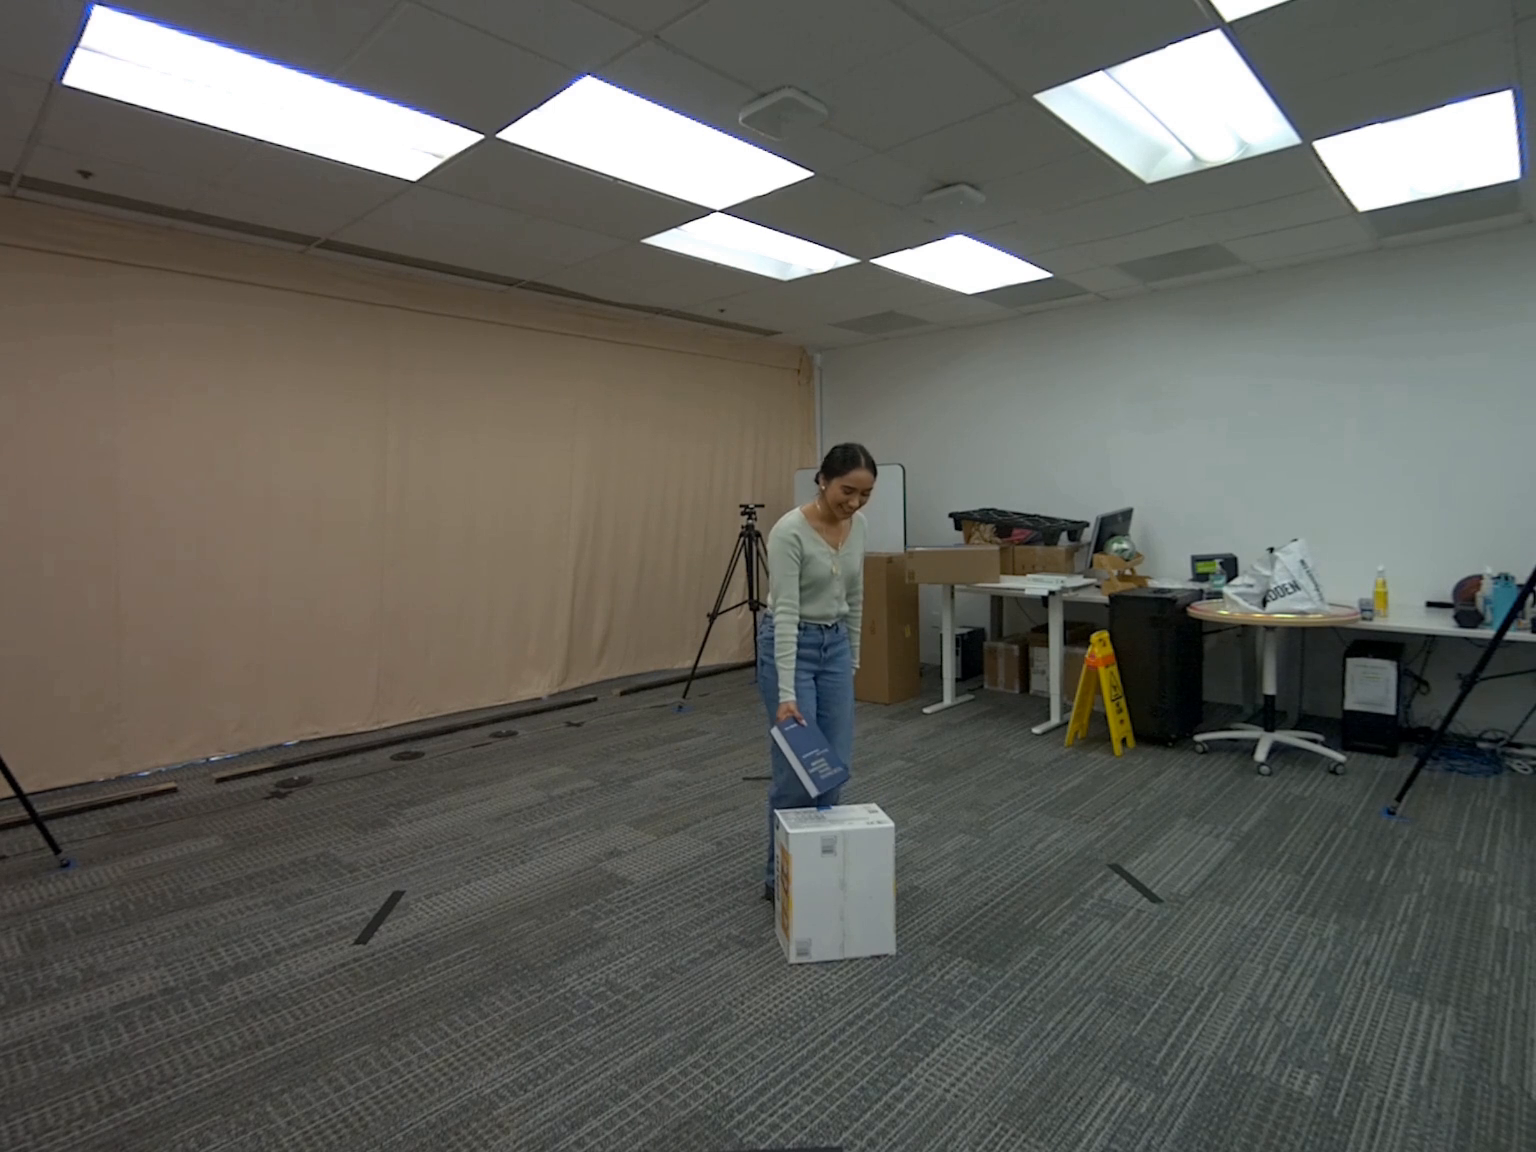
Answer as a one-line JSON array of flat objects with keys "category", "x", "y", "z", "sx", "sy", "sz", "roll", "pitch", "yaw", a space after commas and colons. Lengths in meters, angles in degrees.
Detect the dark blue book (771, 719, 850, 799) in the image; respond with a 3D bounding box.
[{"category": "dark blue book", "x": 0.133, "y": 0.550, "z": 2.612, "sx": 0.159, "sy": 0.251, "sz": 0.045, "roll": -11, "pitch": -30, "yaw": -45}]
